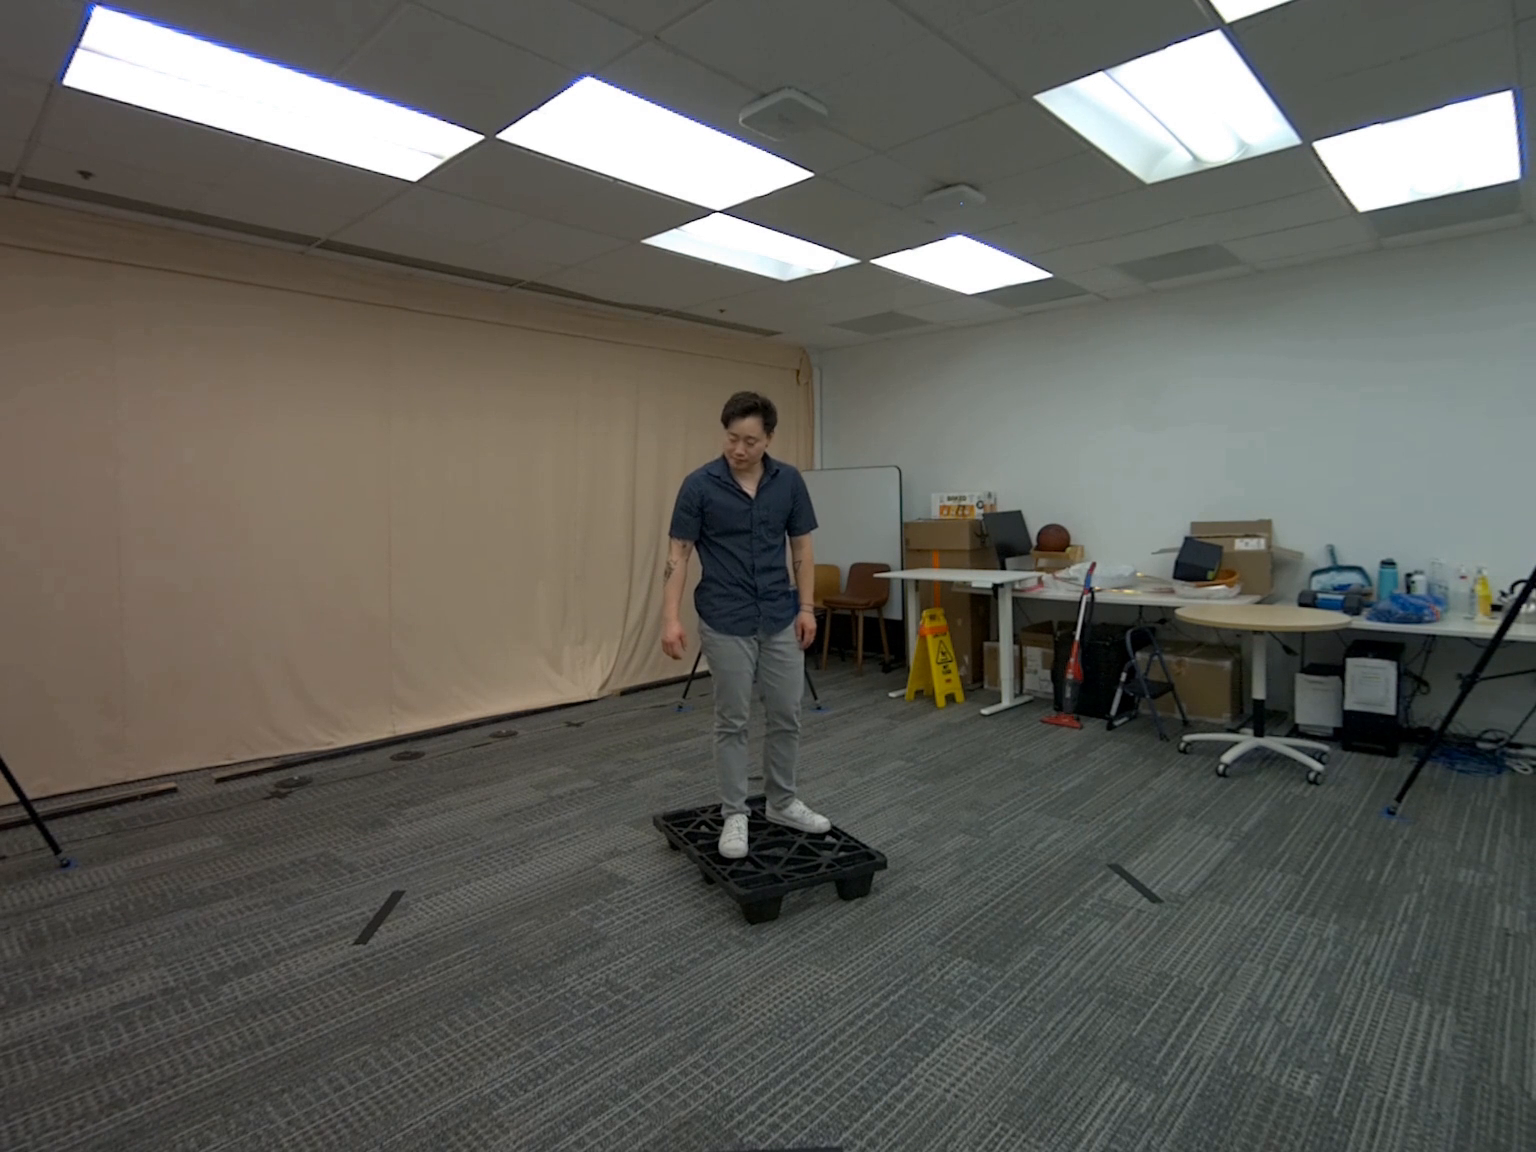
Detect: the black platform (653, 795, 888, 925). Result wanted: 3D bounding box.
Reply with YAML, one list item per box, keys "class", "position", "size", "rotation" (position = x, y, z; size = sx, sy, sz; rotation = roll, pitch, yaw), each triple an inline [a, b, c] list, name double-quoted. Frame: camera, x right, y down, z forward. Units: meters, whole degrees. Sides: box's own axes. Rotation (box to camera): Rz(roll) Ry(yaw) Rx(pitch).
- class: "black platform"
  position: [-0.019, 1.053, 3.216]
  size: [0.590, 0.143, 0.827]
  rotation: [-3, 5, -27]
